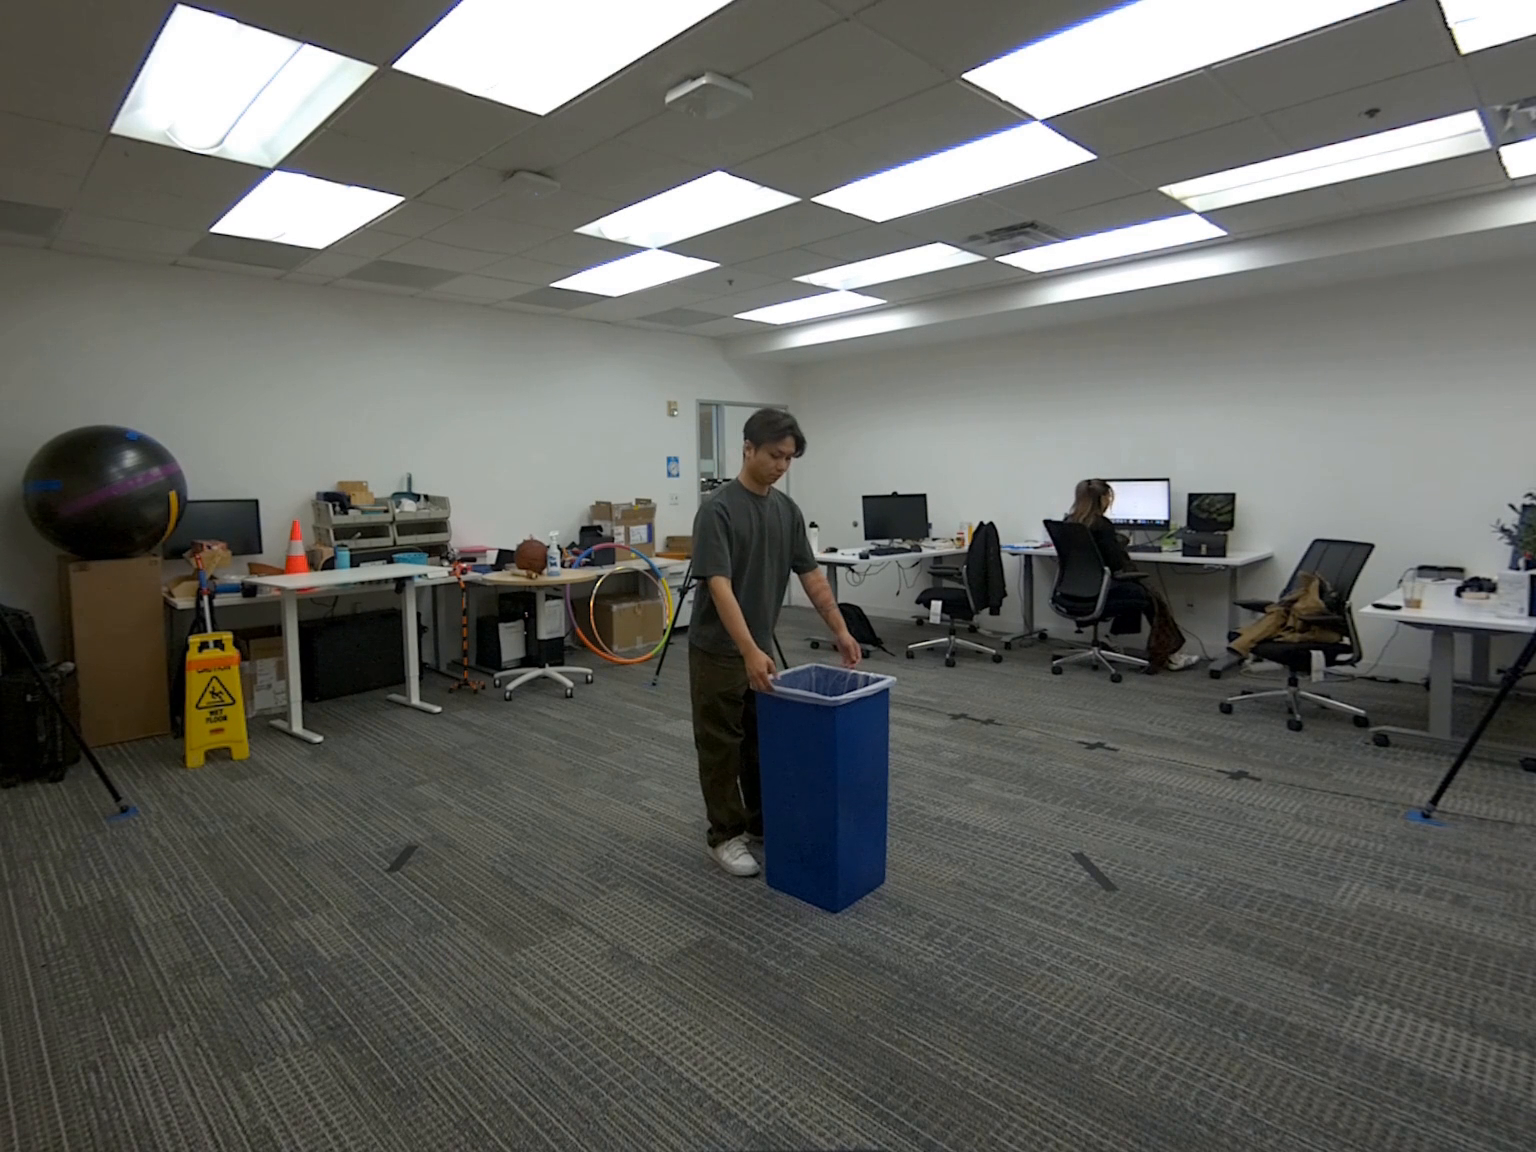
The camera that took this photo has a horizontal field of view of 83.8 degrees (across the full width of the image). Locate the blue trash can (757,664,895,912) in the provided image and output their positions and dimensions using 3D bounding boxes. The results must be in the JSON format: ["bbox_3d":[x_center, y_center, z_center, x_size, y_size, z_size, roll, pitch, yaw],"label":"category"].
[{"bbox_3d":[0.202,0.704,2.916,0.385,0.711,0.368,1,5,41],"label":"blue trash can"}]
